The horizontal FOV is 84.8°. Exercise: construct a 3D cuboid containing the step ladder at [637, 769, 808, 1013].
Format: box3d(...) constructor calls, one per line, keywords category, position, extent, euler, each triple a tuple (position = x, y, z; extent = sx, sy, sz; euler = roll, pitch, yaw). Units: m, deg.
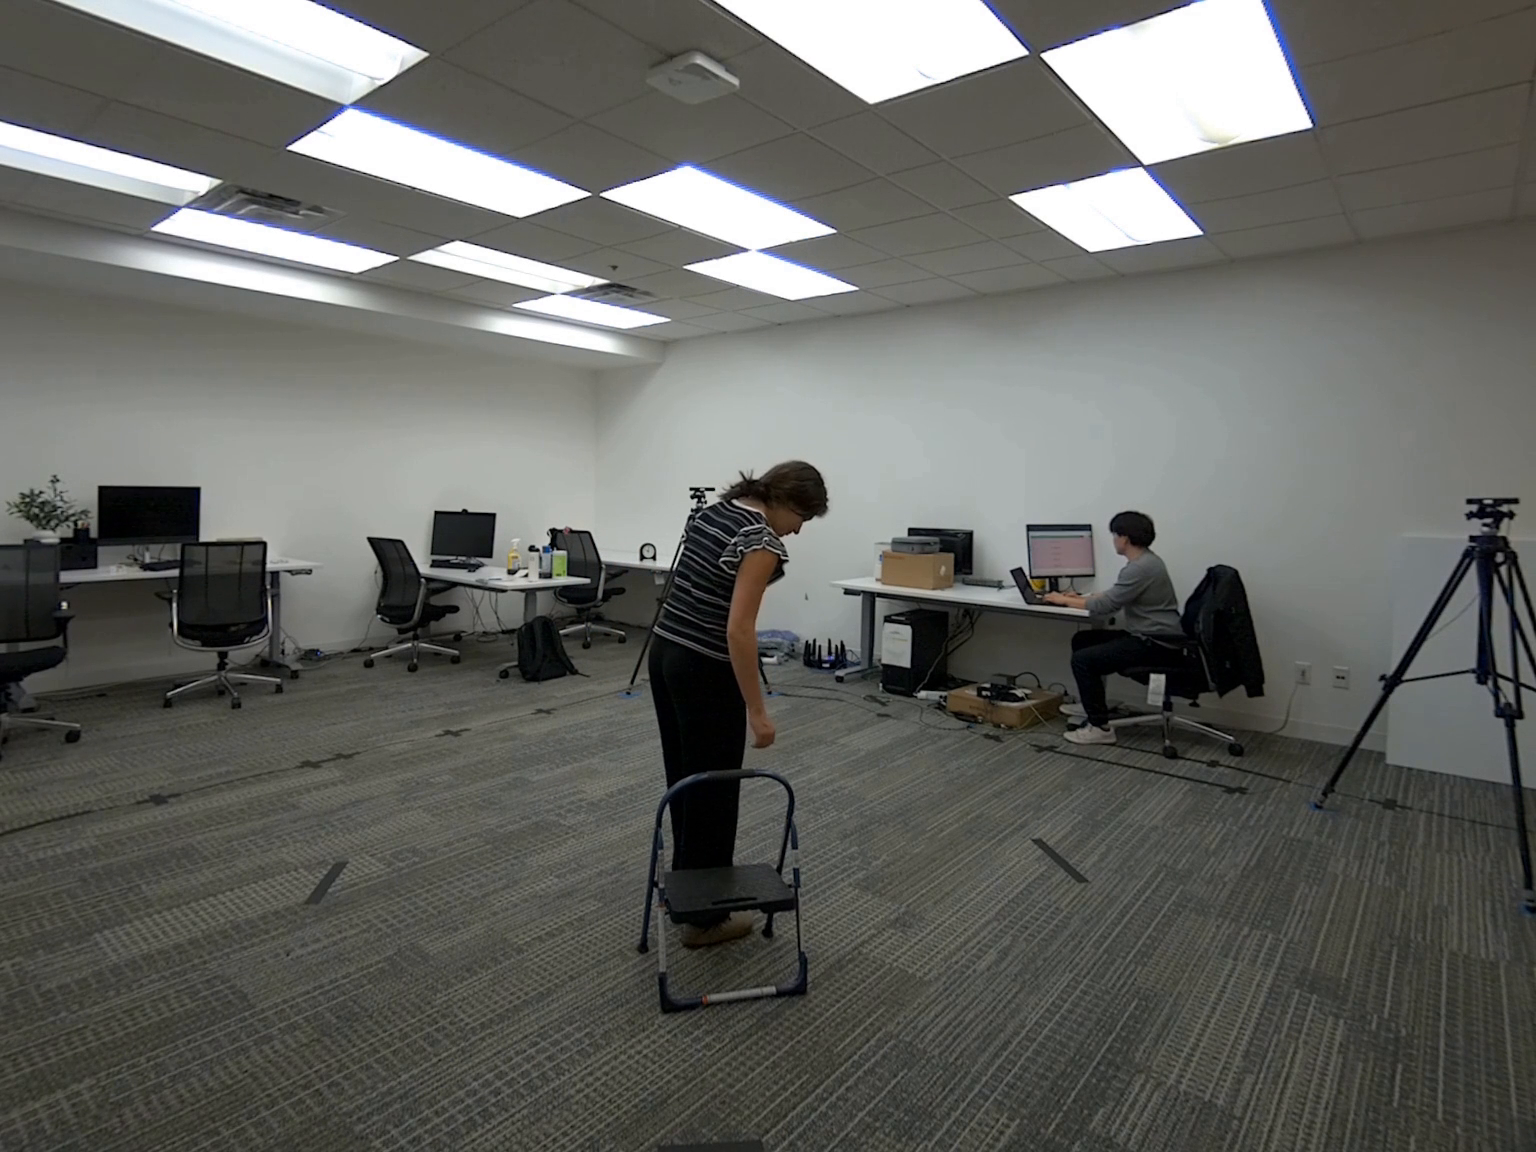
box3d(category="step ladder", position=(-0.141, 0.834, 2.439), extent=(0.423, 0.604, 0.356), euler=(0, 3, -17))
